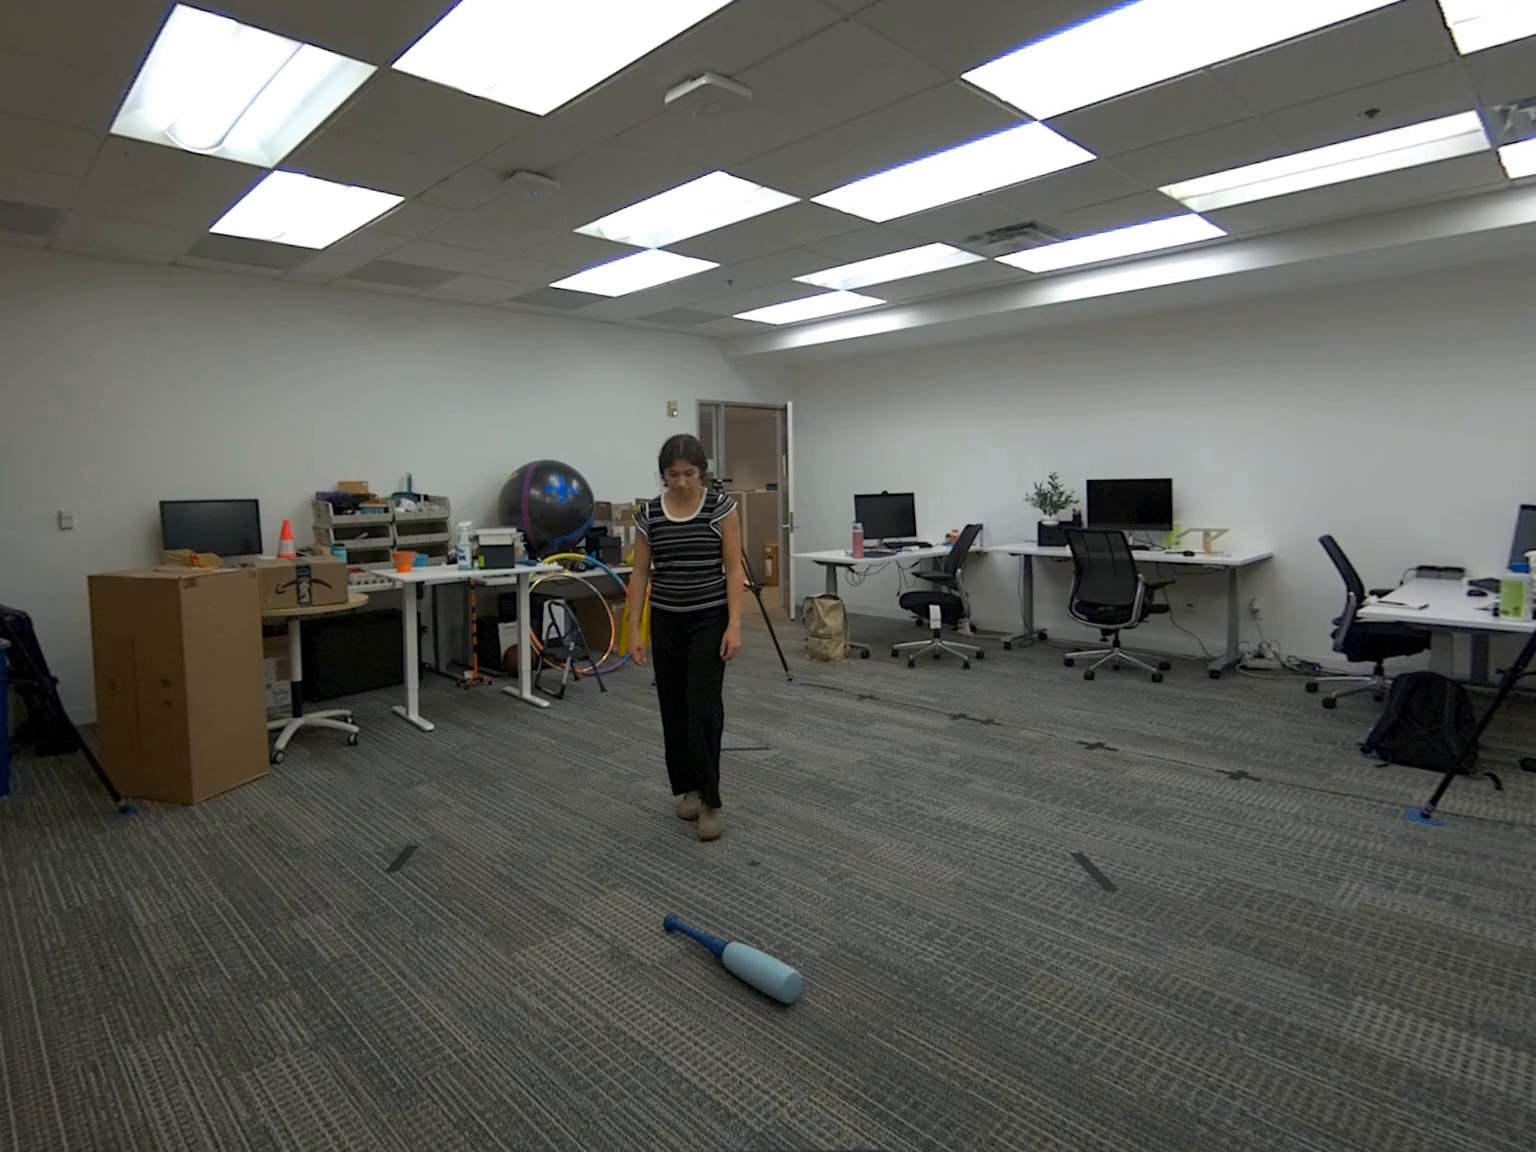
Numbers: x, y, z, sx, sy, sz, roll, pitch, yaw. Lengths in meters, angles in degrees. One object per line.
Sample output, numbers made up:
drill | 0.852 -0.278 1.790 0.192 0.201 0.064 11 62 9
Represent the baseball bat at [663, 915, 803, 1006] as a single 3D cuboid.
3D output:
baseball bat | -0.118 1.088 2.458 0.087 0.089 0.559 -5 4 -43
